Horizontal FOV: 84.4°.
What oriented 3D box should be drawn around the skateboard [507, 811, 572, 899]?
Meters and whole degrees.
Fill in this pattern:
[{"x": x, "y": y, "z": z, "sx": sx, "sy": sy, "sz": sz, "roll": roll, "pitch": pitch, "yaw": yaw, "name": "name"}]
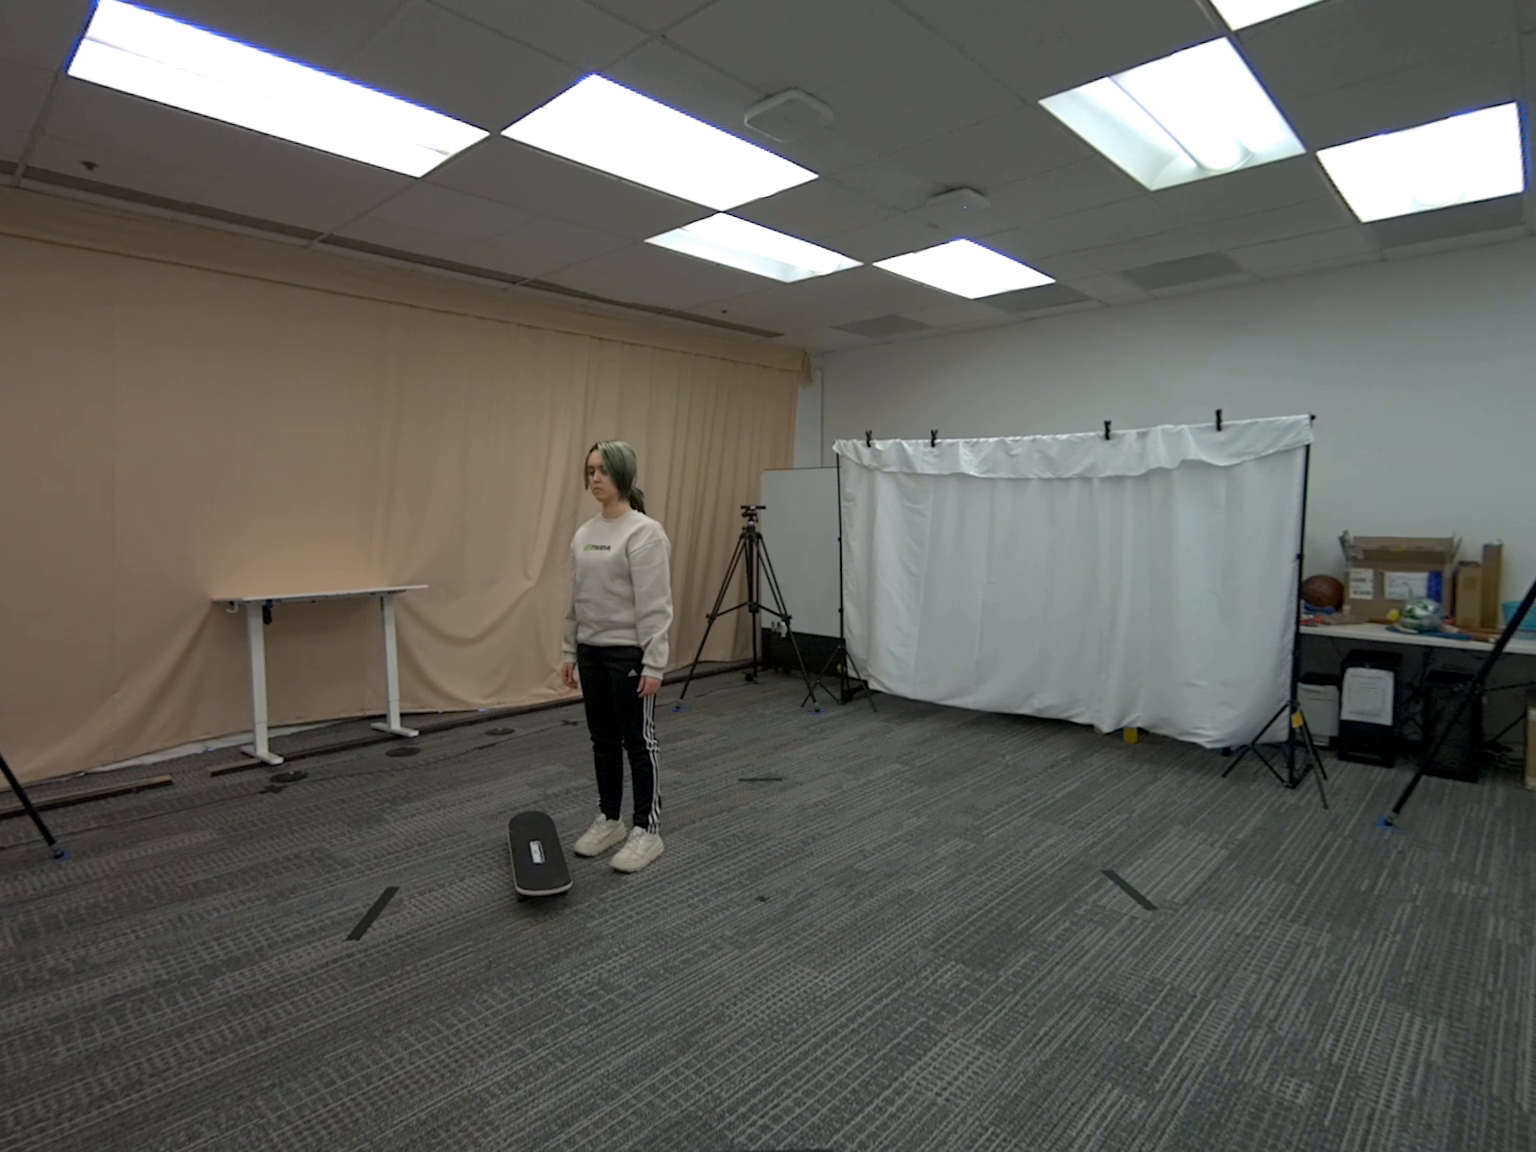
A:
[{"x": -0.877, "y": 1.076, "z": 3.194, "sx": 0.190, "sy": 0.110, "sz": 0.802, "roll": -2, "pitch": 5, "yaw": -19, "name": "skateboard"}]
